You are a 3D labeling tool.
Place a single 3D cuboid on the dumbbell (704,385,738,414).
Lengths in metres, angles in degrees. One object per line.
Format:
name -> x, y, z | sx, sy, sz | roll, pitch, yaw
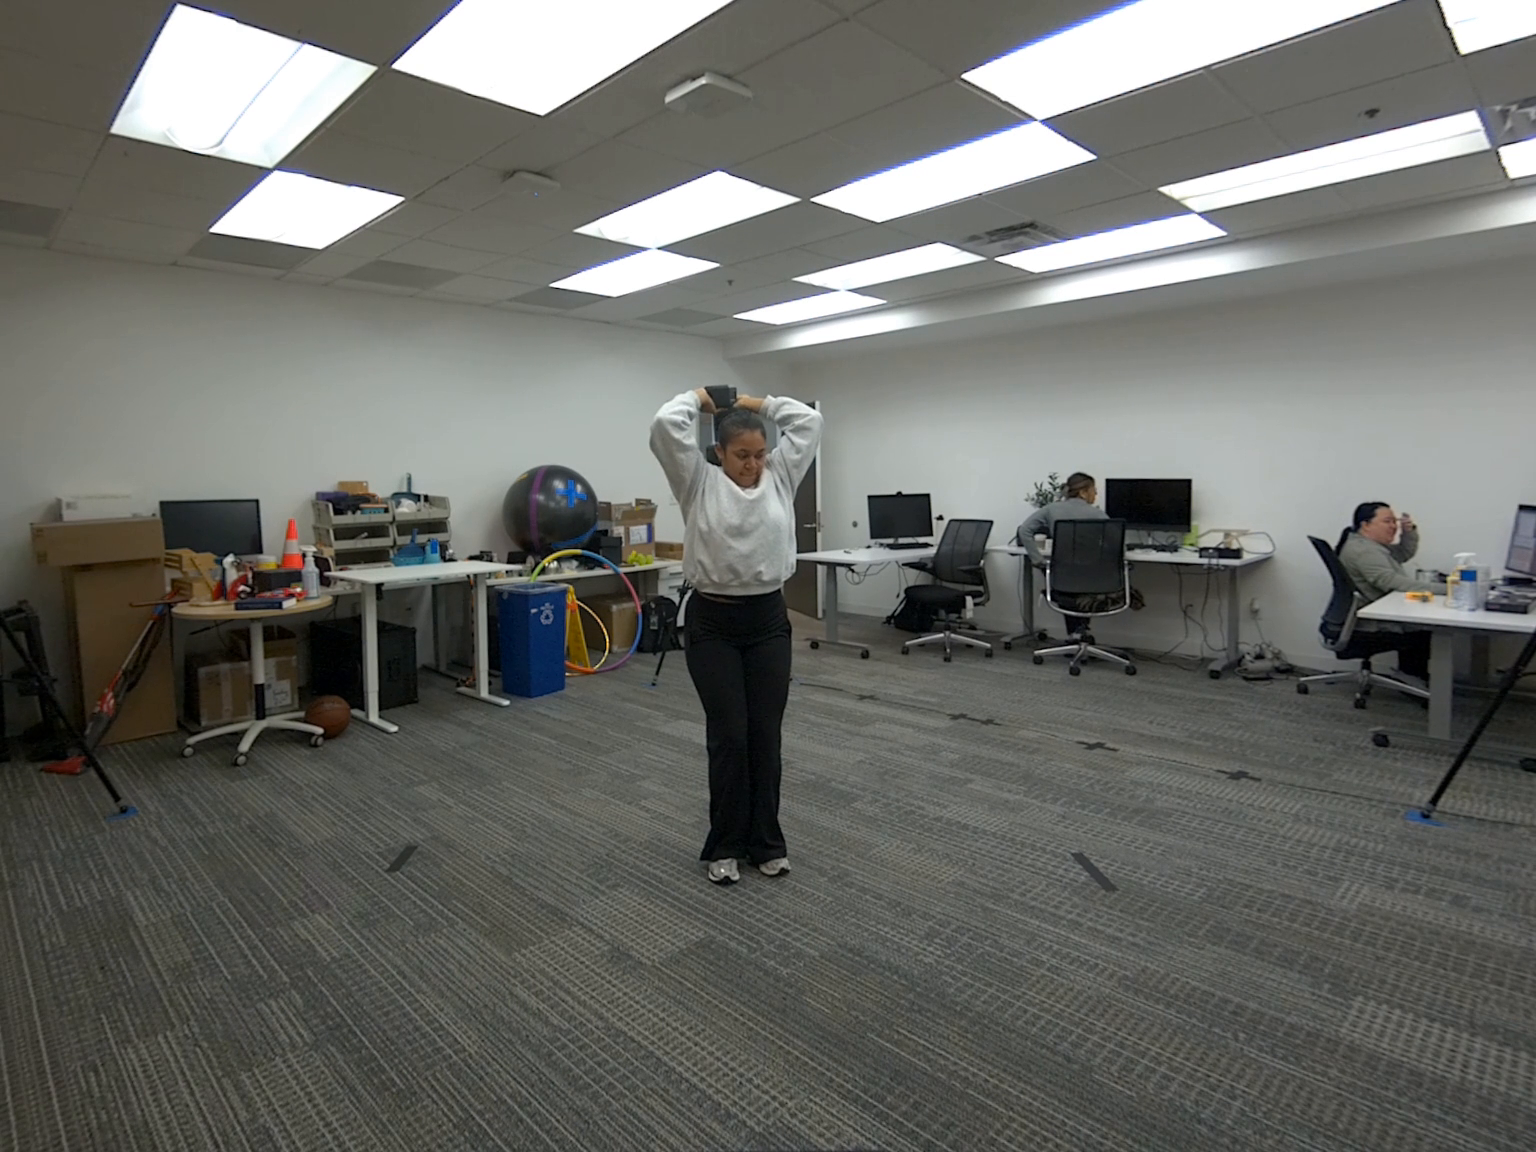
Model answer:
dumbbell -> -0.157, -0.561, 3.112 | 0.111, 0.291, 0.121 | 3, 11, 30
